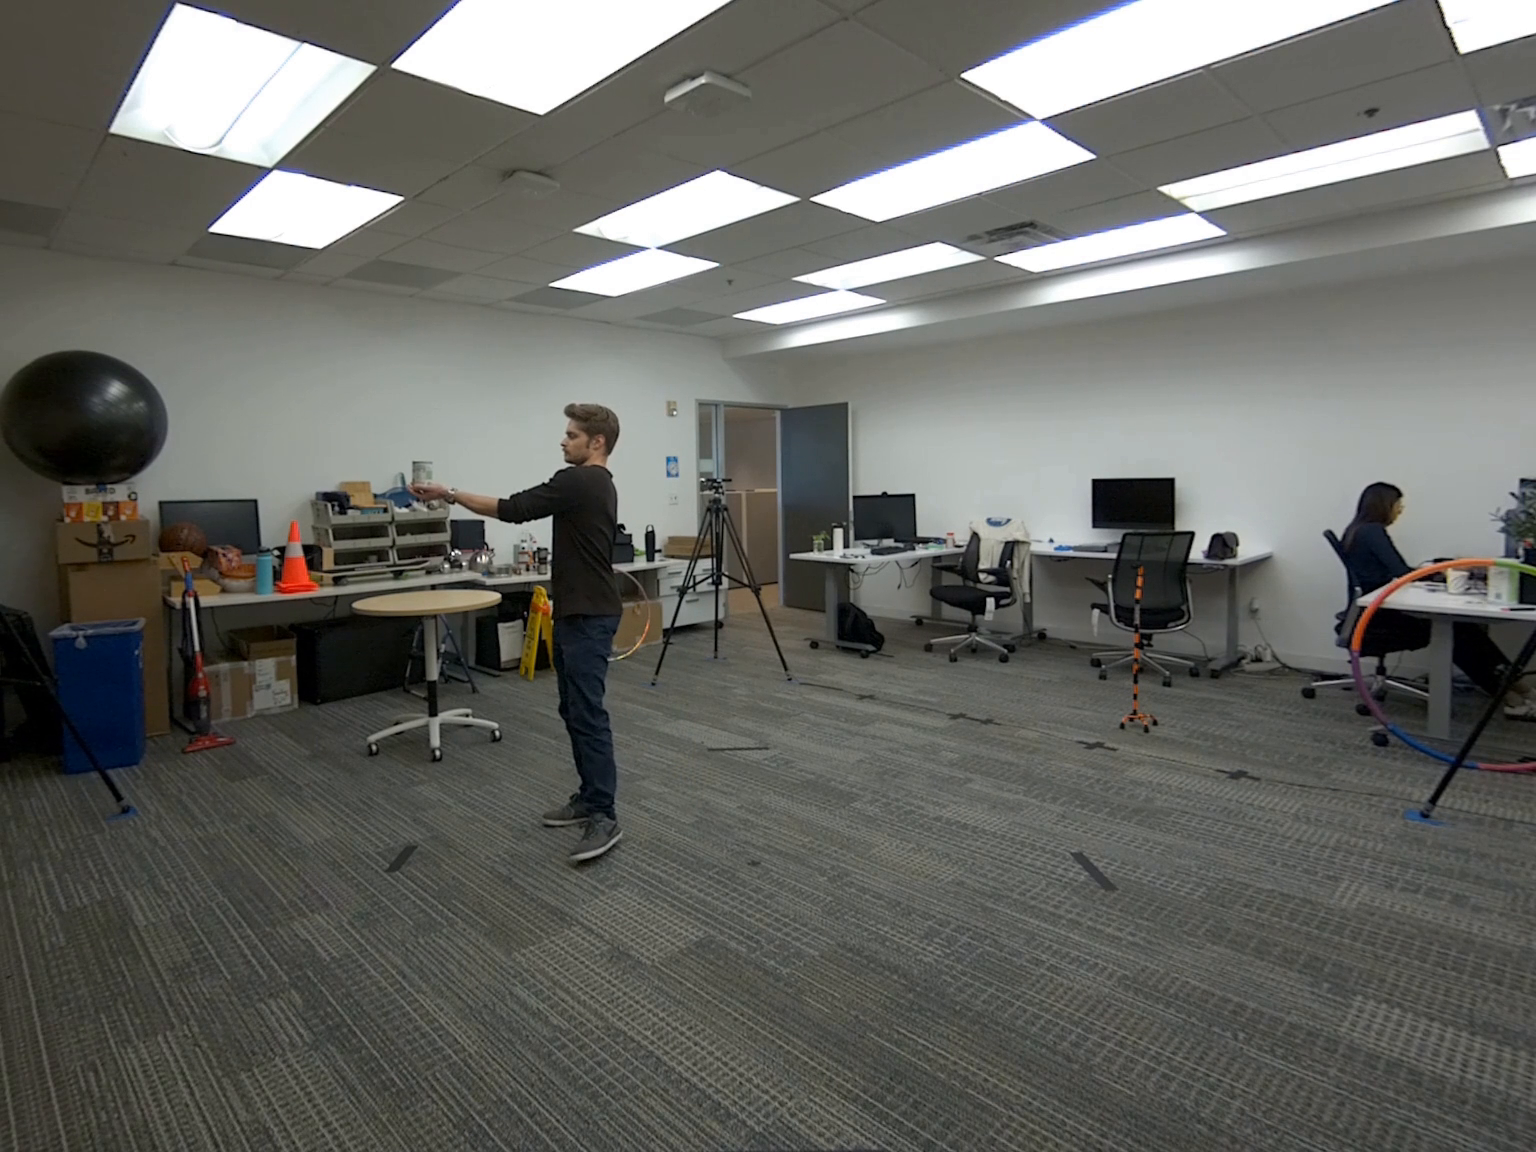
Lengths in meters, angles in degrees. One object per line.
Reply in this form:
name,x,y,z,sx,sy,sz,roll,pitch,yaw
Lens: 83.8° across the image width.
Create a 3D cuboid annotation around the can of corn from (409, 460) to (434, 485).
can of corn,-1.343,-0.386,3.318,0.074,0.111,0.074,2,4,-2
